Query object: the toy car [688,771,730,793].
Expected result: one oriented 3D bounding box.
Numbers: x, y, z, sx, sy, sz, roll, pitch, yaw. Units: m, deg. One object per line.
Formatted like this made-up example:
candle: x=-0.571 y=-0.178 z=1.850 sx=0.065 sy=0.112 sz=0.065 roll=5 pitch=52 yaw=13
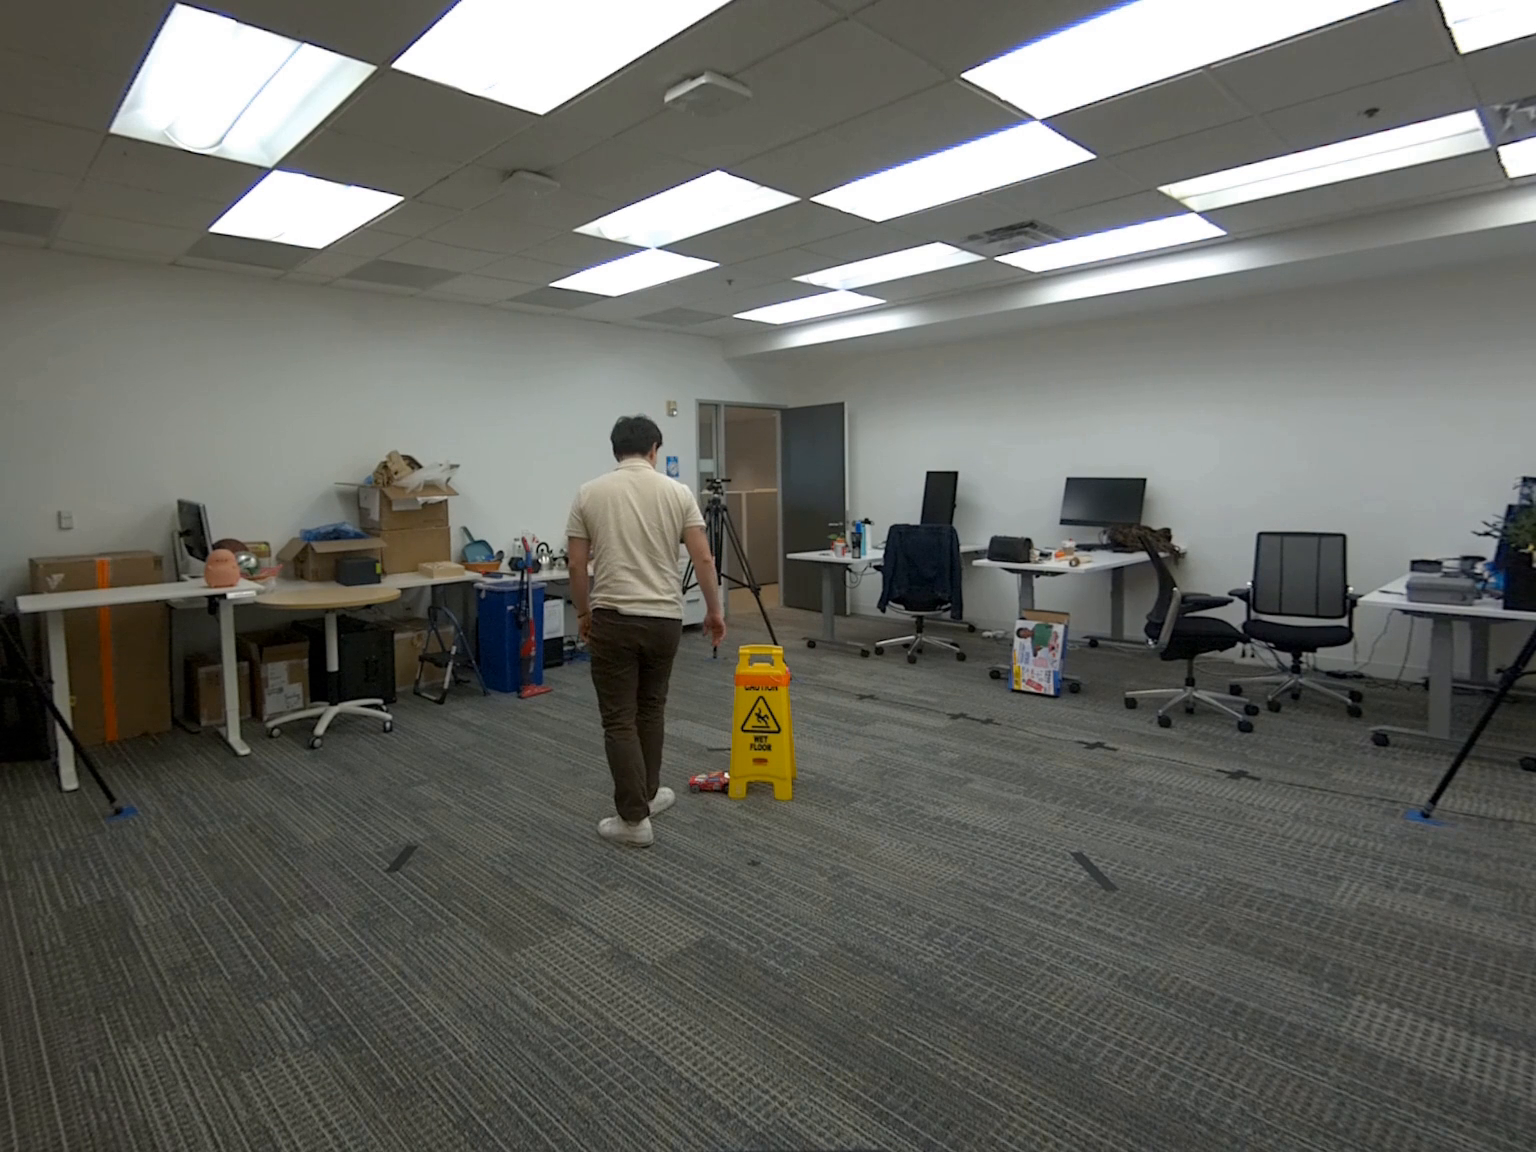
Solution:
toy car: x=-0.226 y=0.931 z=3.868 sx=0.256 sy=0.083 sz=0.130 roll=-11 pitch=5 yaw=6
